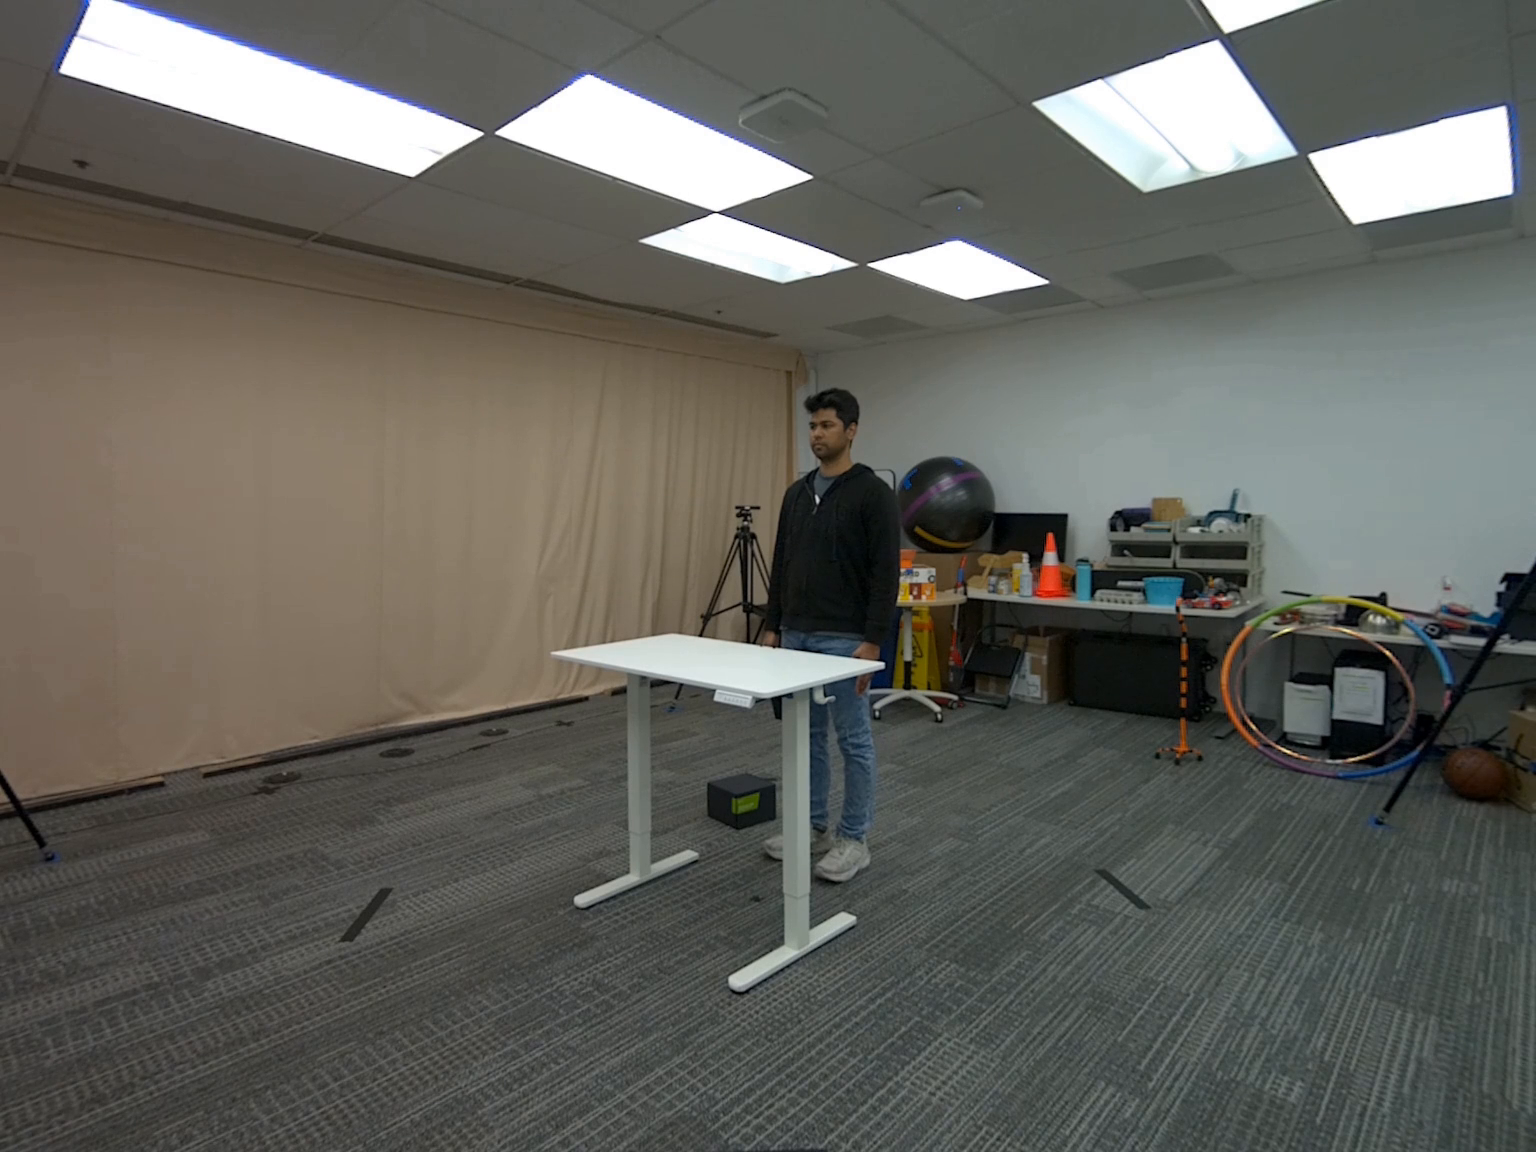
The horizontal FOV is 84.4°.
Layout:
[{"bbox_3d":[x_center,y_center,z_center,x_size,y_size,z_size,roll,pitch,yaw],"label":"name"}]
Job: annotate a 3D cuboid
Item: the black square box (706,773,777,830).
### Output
[{"bbox_3d":[-0.117,0.997,3.762,0.221,0.155,0.224,-4,5,-39],"label":"black square box"}]
